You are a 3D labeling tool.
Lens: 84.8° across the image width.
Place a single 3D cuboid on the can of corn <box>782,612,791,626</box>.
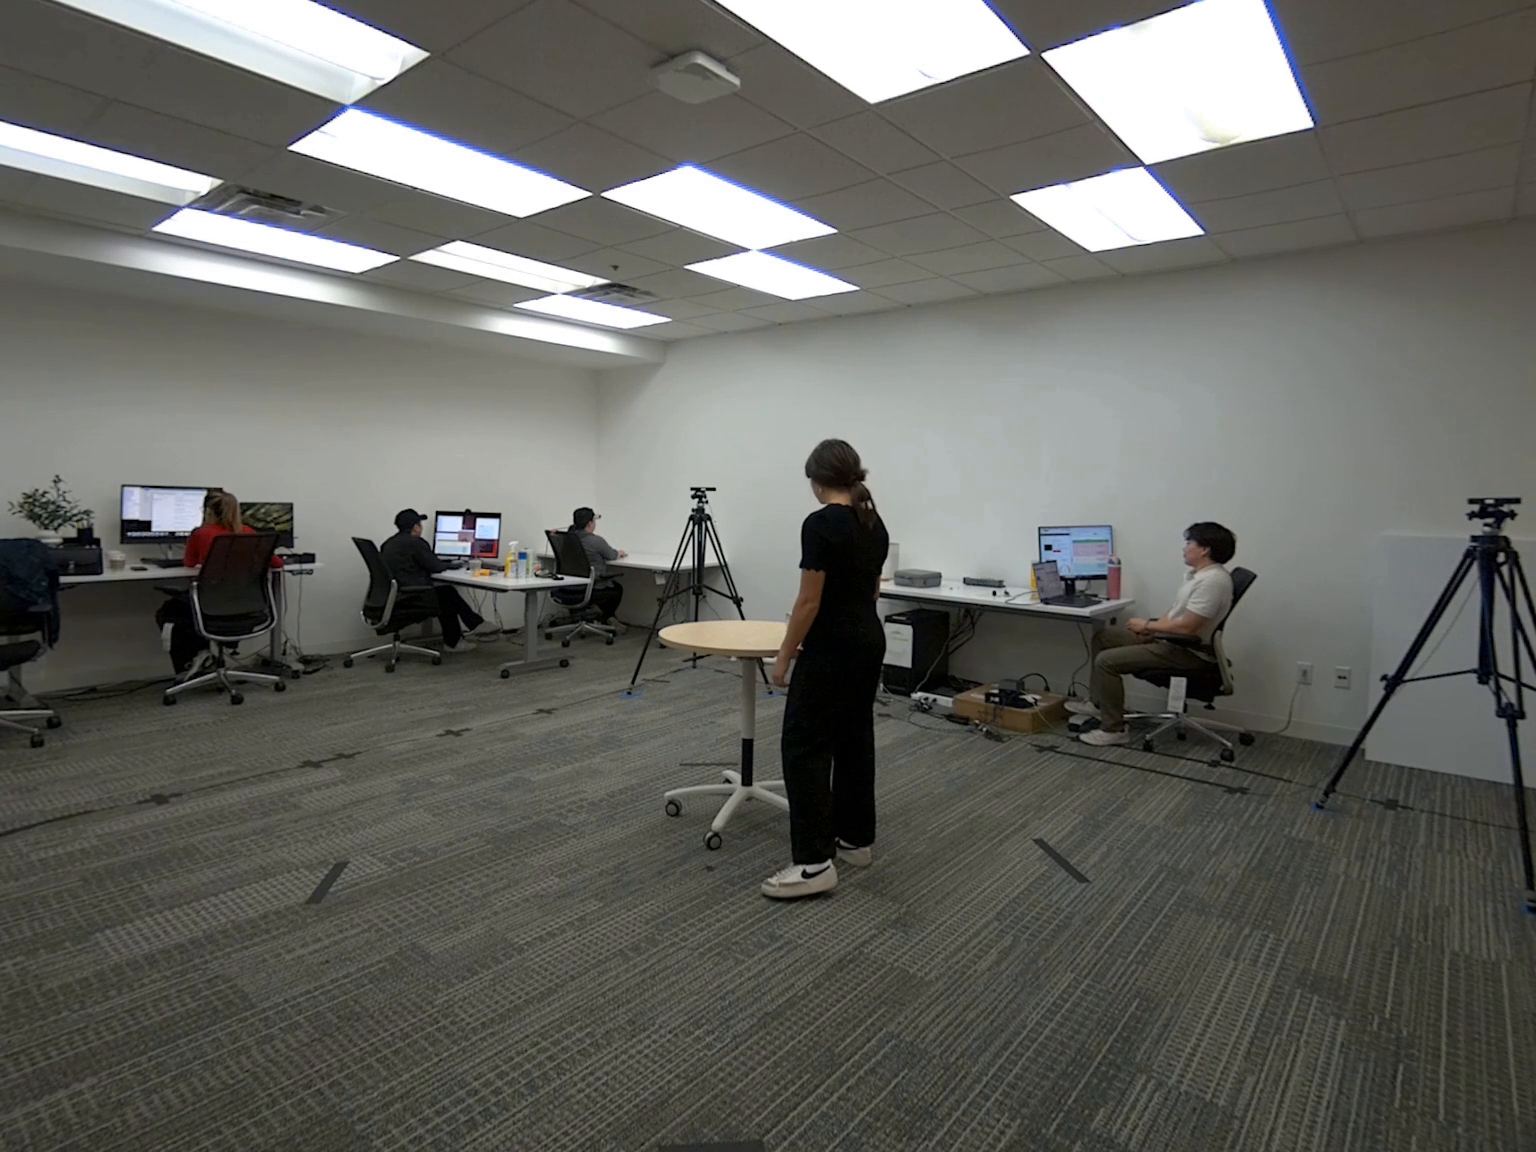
[{"bbox_3d":[0.098,0.199,3.402,0.074,0.111,0.074,4,2,-2],"label":"can of corn"}]
